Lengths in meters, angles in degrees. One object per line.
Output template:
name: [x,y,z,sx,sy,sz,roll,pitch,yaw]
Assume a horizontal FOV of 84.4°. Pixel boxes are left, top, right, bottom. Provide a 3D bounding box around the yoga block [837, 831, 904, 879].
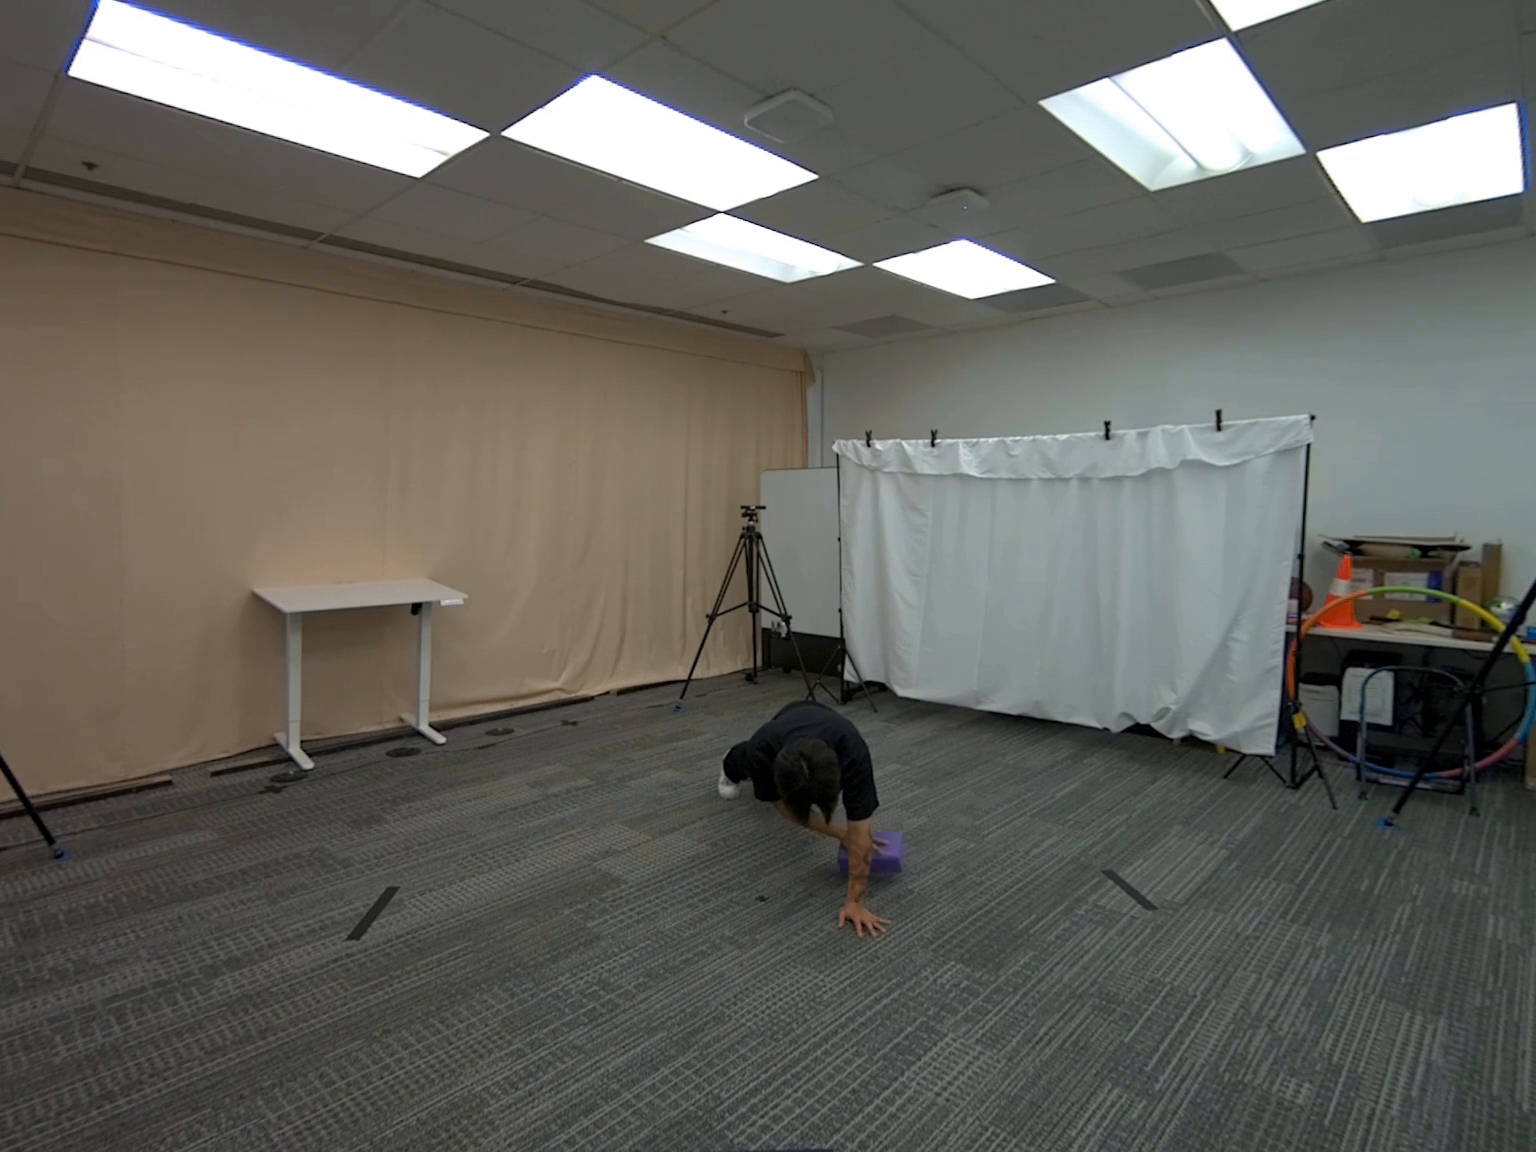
yoga block: [0.388,1.032,3.139,0.233,0.075,0.149,-7,22,18]
